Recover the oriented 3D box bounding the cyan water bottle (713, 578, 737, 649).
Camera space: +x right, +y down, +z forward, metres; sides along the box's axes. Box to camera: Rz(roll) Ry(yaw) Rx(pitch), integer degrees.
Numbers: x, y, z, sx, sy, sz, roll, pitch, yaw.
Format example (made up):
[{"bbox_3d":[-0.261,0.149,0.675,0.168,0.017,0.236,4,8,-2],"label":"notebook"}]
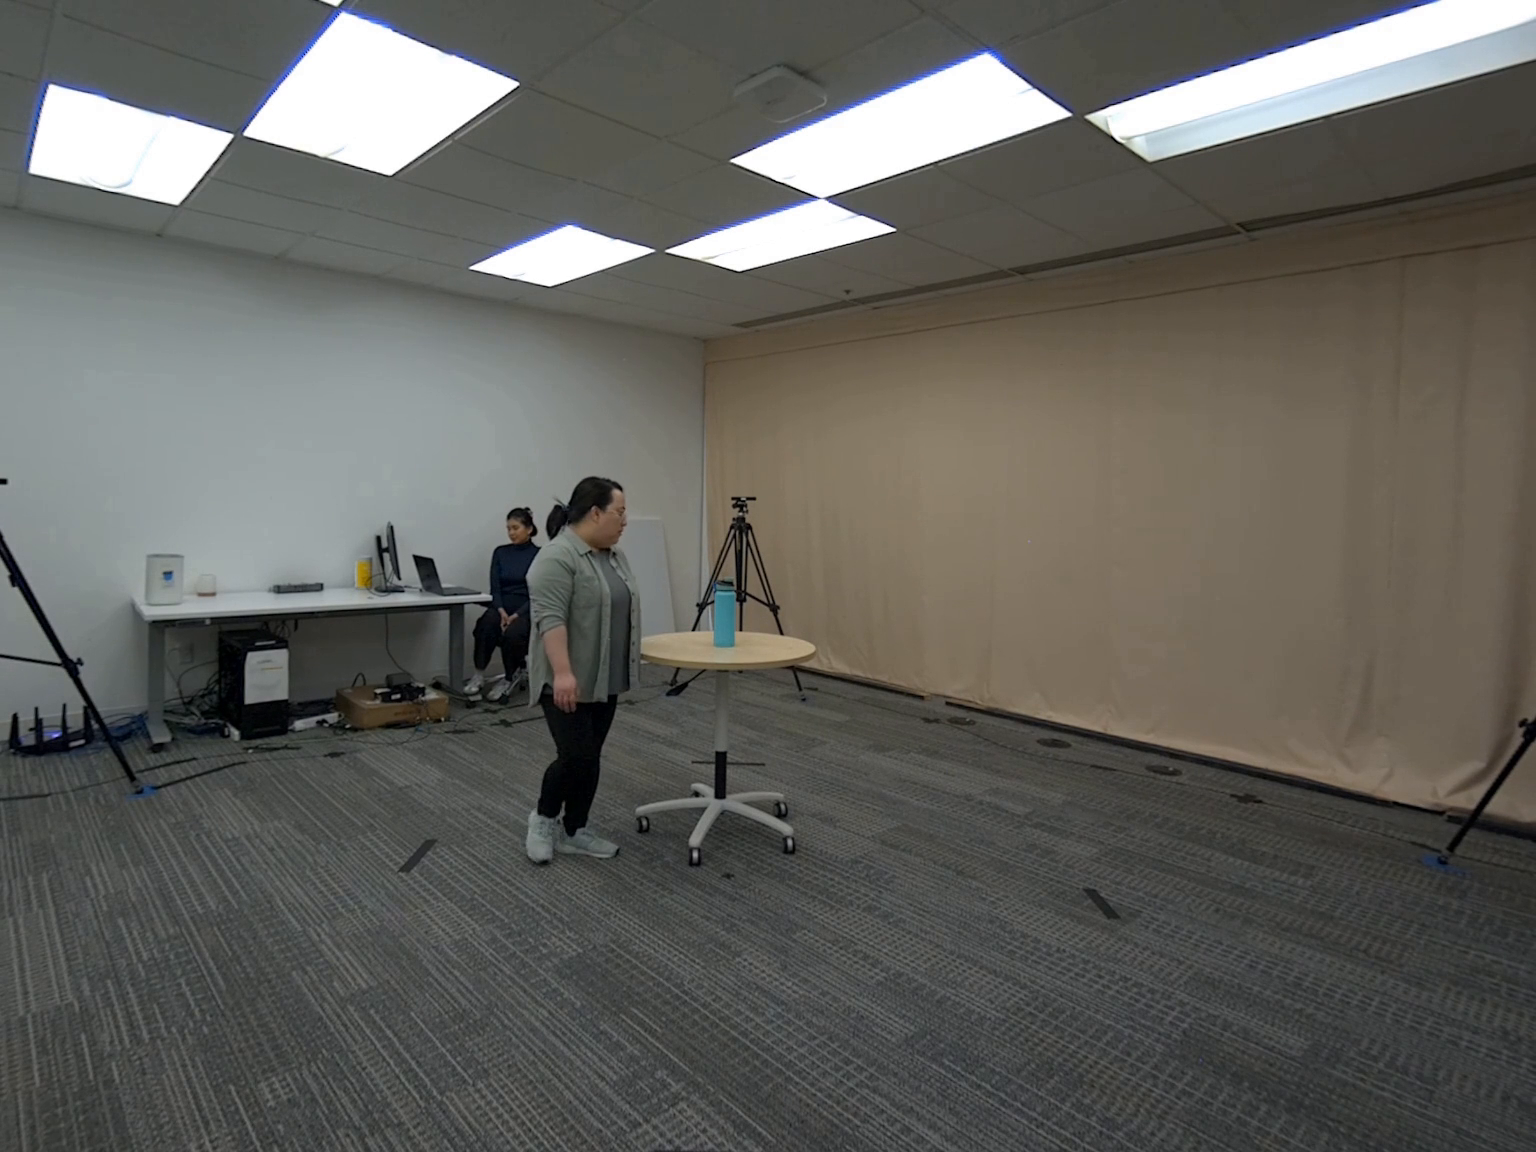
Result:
[{"bbox_3d":[-0.192,0.148,3.488,0.092,0.282,0.093,0,5,-1],"label":"cyan water bottle"}]
